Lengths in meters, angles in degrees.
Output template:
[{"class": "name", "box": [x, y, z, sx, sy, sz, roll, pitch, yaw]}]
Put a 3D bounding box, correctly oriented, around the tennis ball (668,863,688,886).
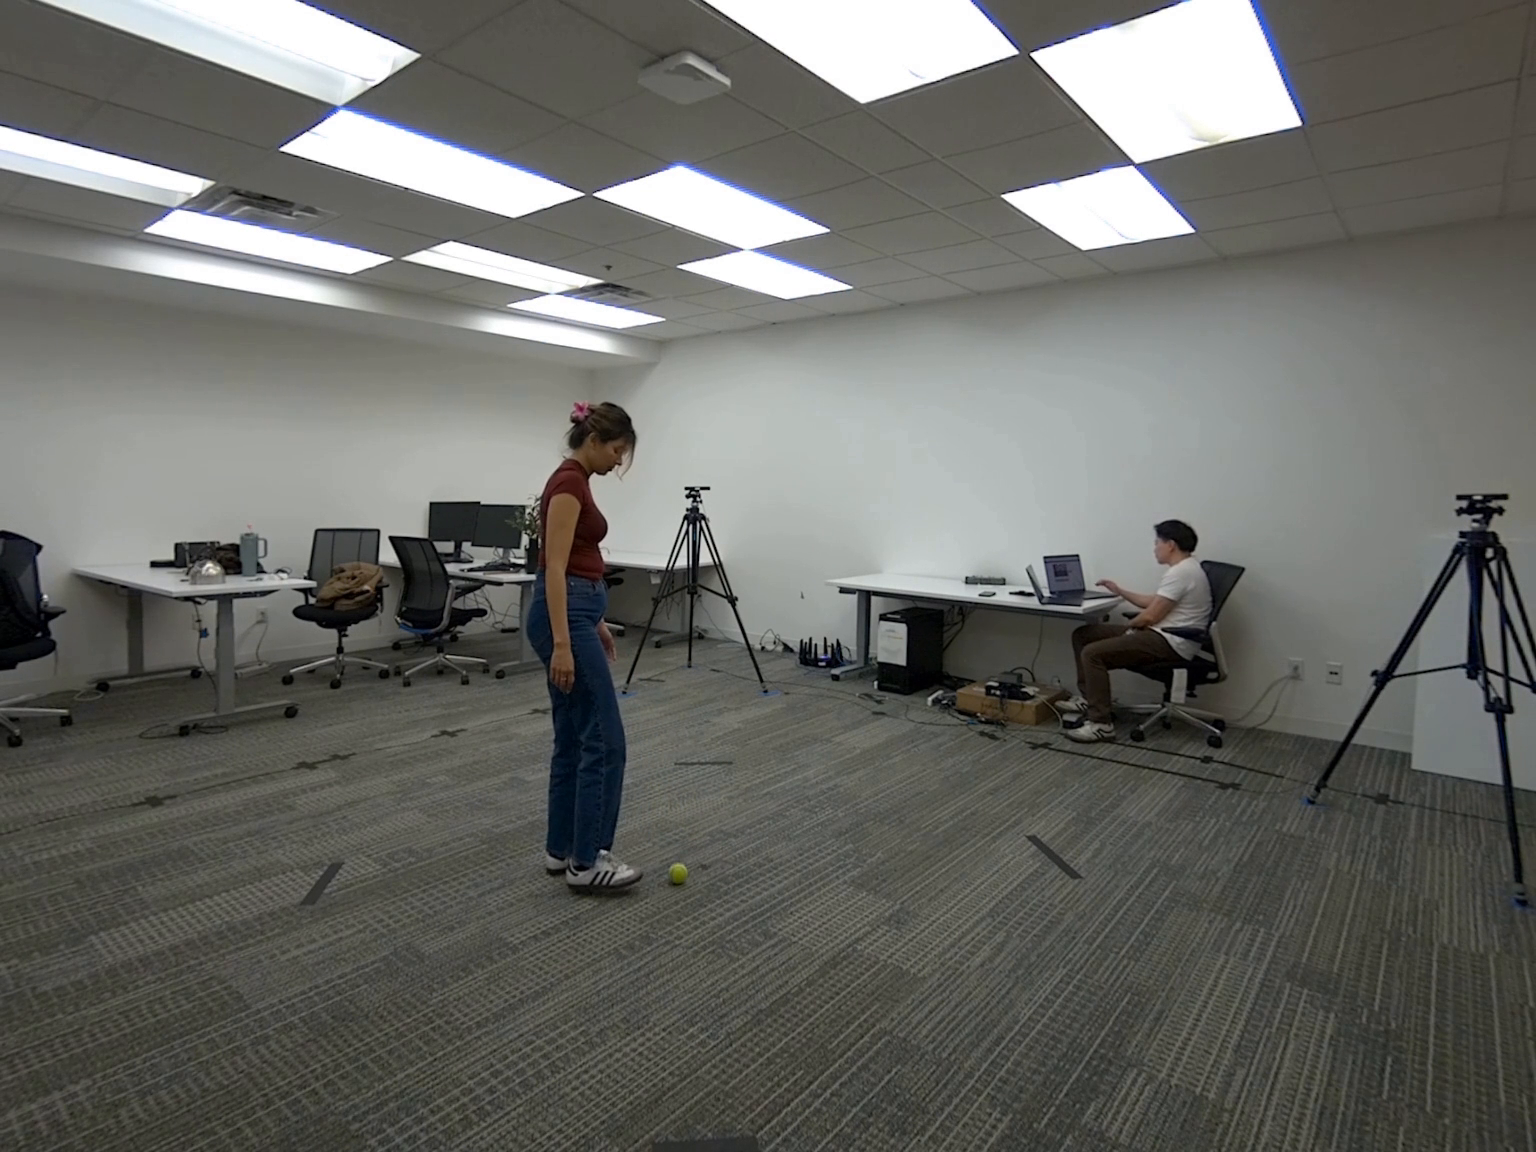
[{"class": "tennis ball", "box": [-0.332, 1.040, 2.979, 0.066, 0.066, 0.067, 1, 4, -2]}]
